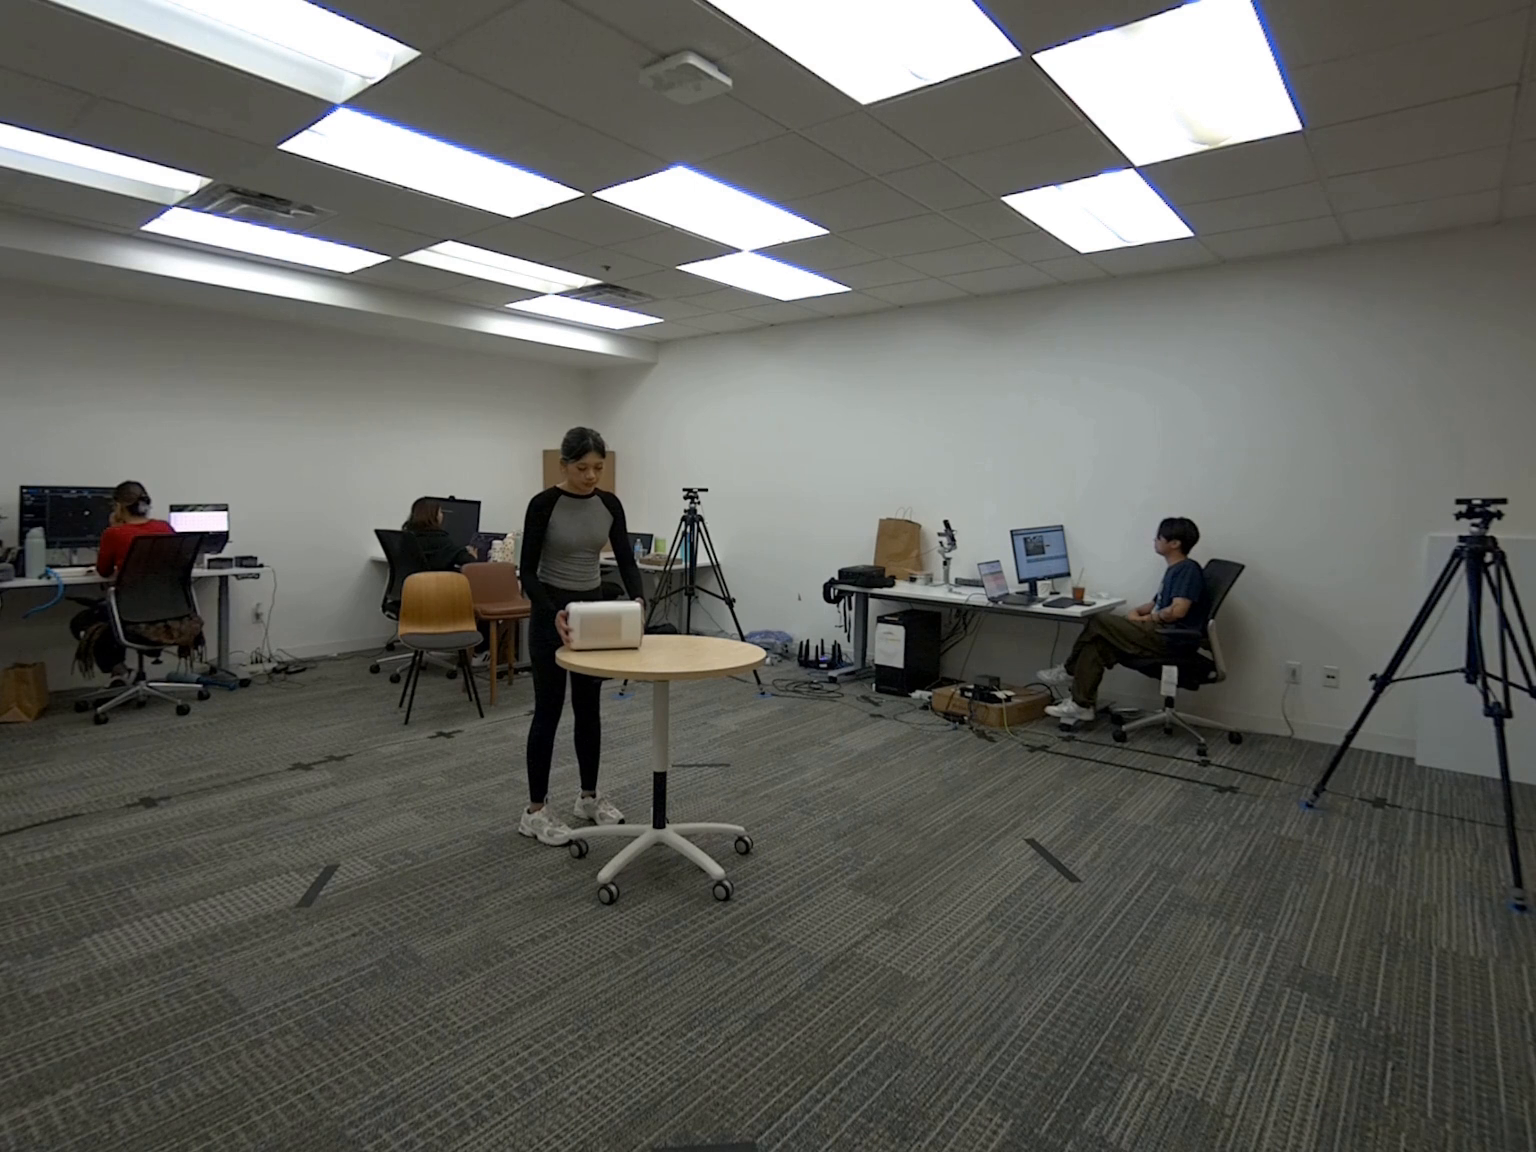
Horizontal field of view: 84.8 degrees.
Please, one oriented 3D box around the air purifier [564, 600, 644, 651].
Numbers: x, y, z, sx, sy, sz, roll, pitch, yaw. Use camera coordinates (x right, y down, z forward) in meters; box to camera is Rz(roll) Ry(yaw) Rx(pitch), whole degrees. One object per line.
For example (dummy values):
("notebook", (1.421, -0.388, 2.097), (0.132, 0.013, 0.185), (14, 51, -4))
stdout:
("air purifier", (-0.622, 0.178, 3.160), (0.260, 0.171, 0.174), (0, 1, -18))
